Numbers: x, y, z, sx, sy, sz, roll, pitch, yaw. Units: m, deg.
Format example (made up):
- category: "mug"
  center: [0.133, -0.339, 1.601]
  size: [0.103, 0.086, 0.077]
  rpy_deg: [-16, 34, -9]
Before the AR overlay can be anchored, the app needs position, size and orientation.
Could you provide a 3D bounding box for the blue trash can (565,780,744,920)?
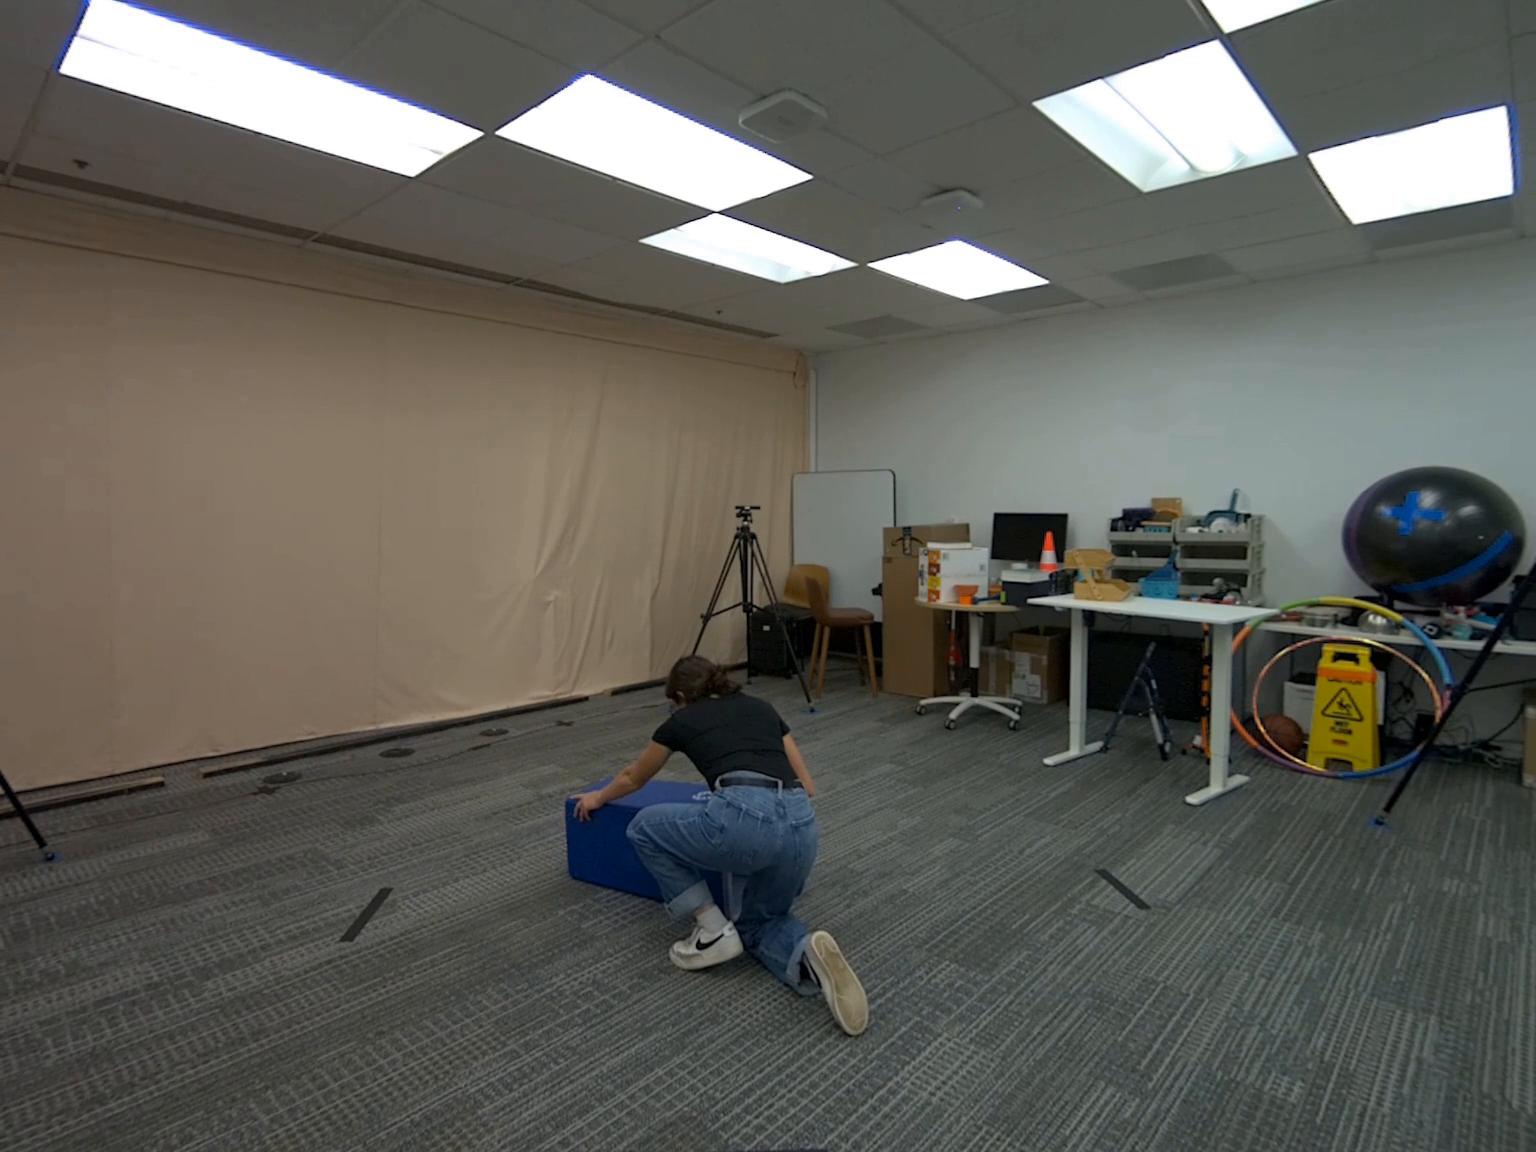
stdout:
- category: "blue trash can"
  center: [-0.369, 0.971, 3.105]
  size: [0.732, 0.377, 0.365]
  rpy_deg: [-1, 4, 27]
